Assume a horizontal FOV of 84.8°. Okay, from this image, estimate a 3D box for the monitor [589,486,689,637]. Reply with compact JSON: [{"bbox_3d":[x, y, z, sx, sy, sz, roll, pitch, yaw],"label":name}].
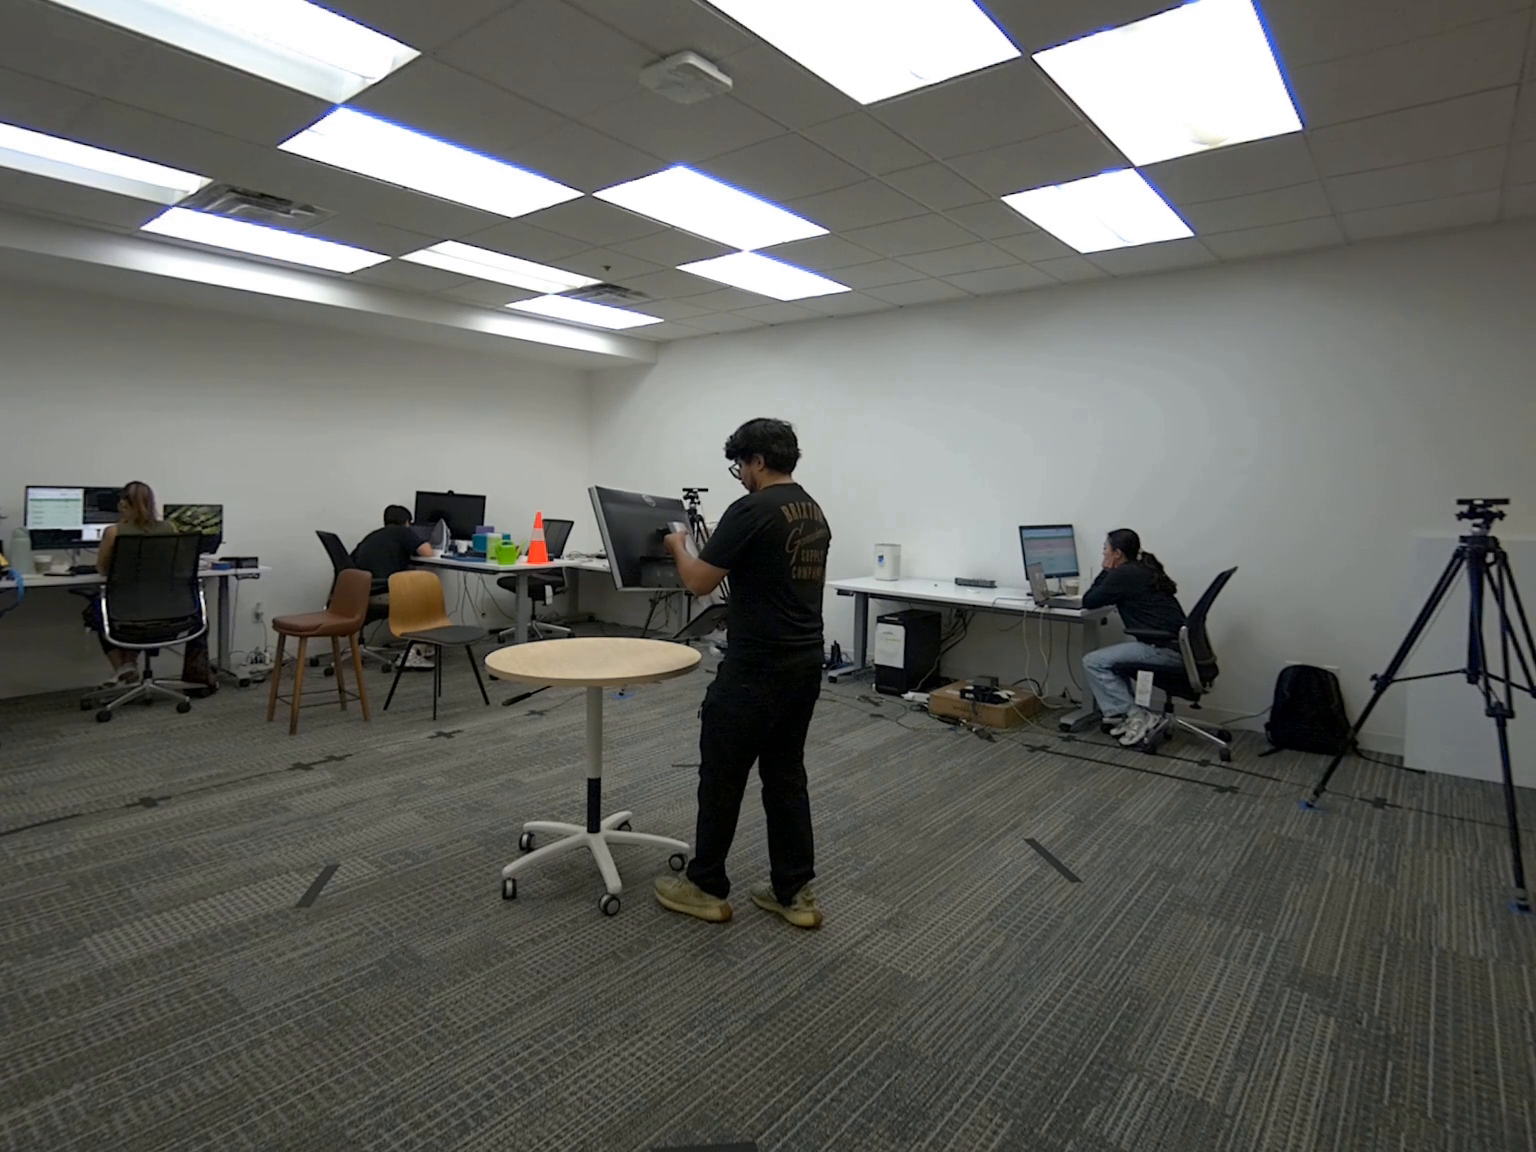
[{"bbox_3d":[-0.326,-0.074,2.959,0.212,0.565,0.549,-31,-16,24],"label":"monitor"}]
